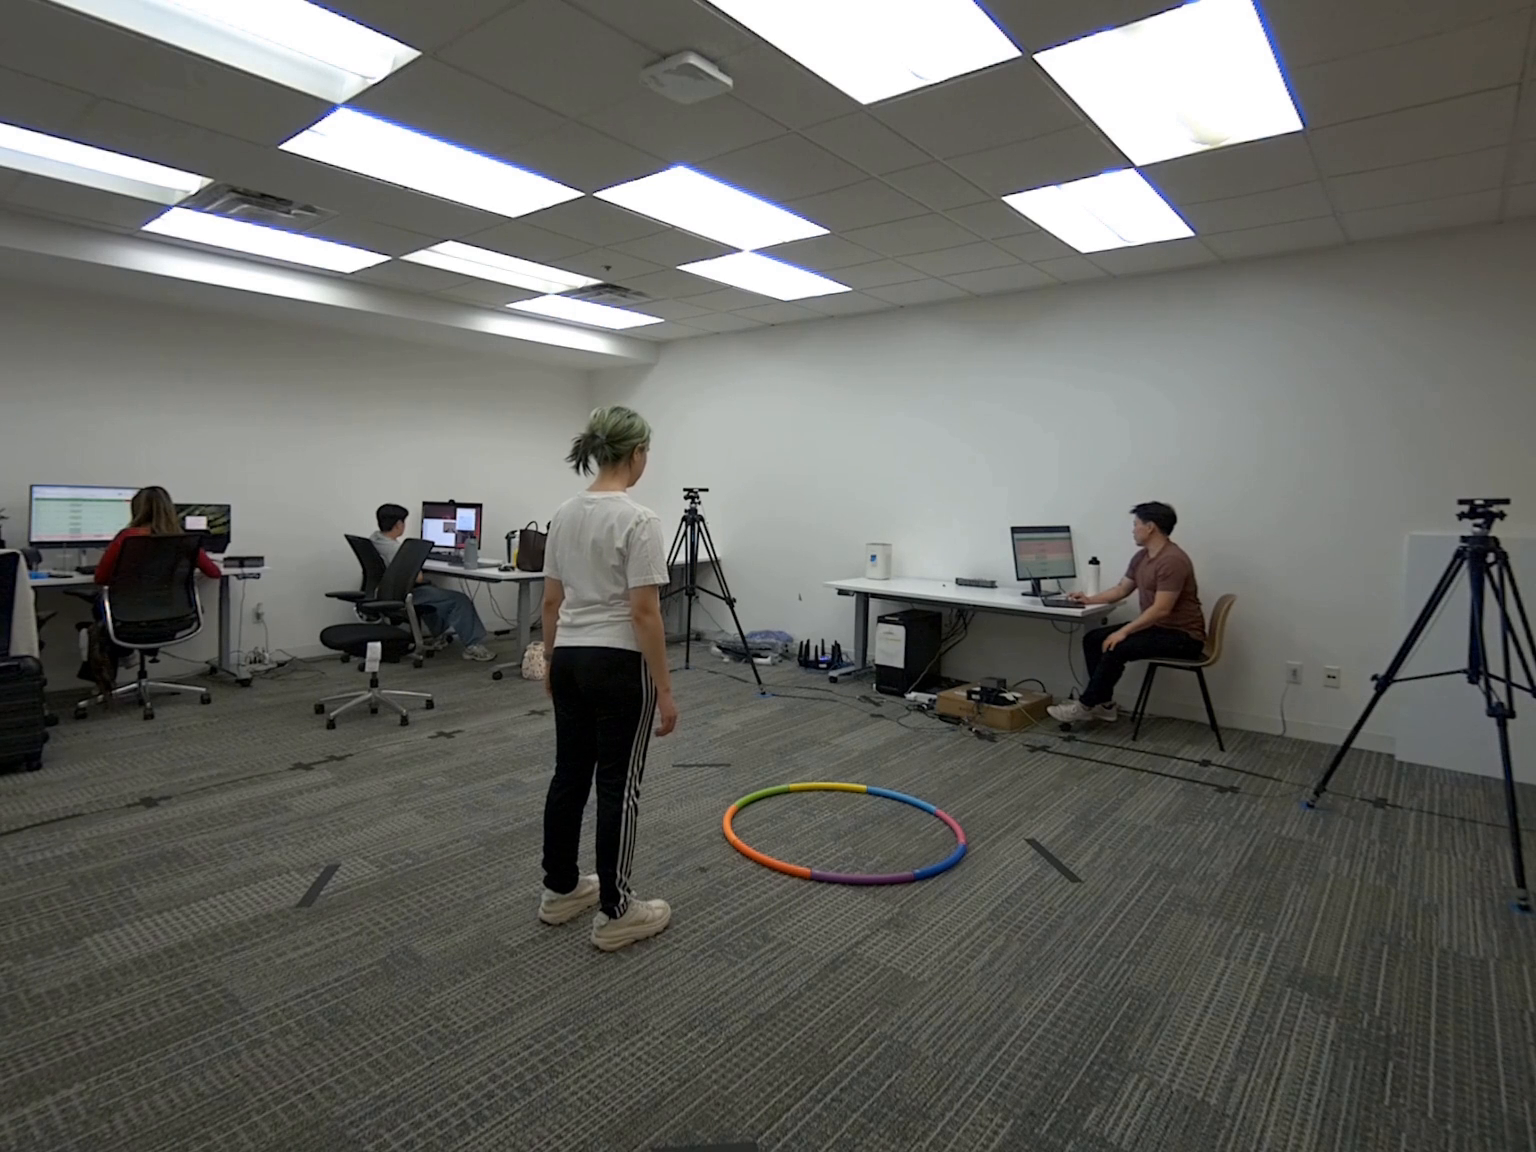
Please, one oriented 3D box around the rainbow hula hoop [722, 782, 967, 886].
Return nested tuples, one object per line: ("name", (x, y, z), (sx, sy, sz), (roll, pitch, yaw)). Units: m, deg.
("rainbow hula hoop", (0.292, 1.012, 3.487), (0.978, 0.035, 0.984), (1, 6, -2))
